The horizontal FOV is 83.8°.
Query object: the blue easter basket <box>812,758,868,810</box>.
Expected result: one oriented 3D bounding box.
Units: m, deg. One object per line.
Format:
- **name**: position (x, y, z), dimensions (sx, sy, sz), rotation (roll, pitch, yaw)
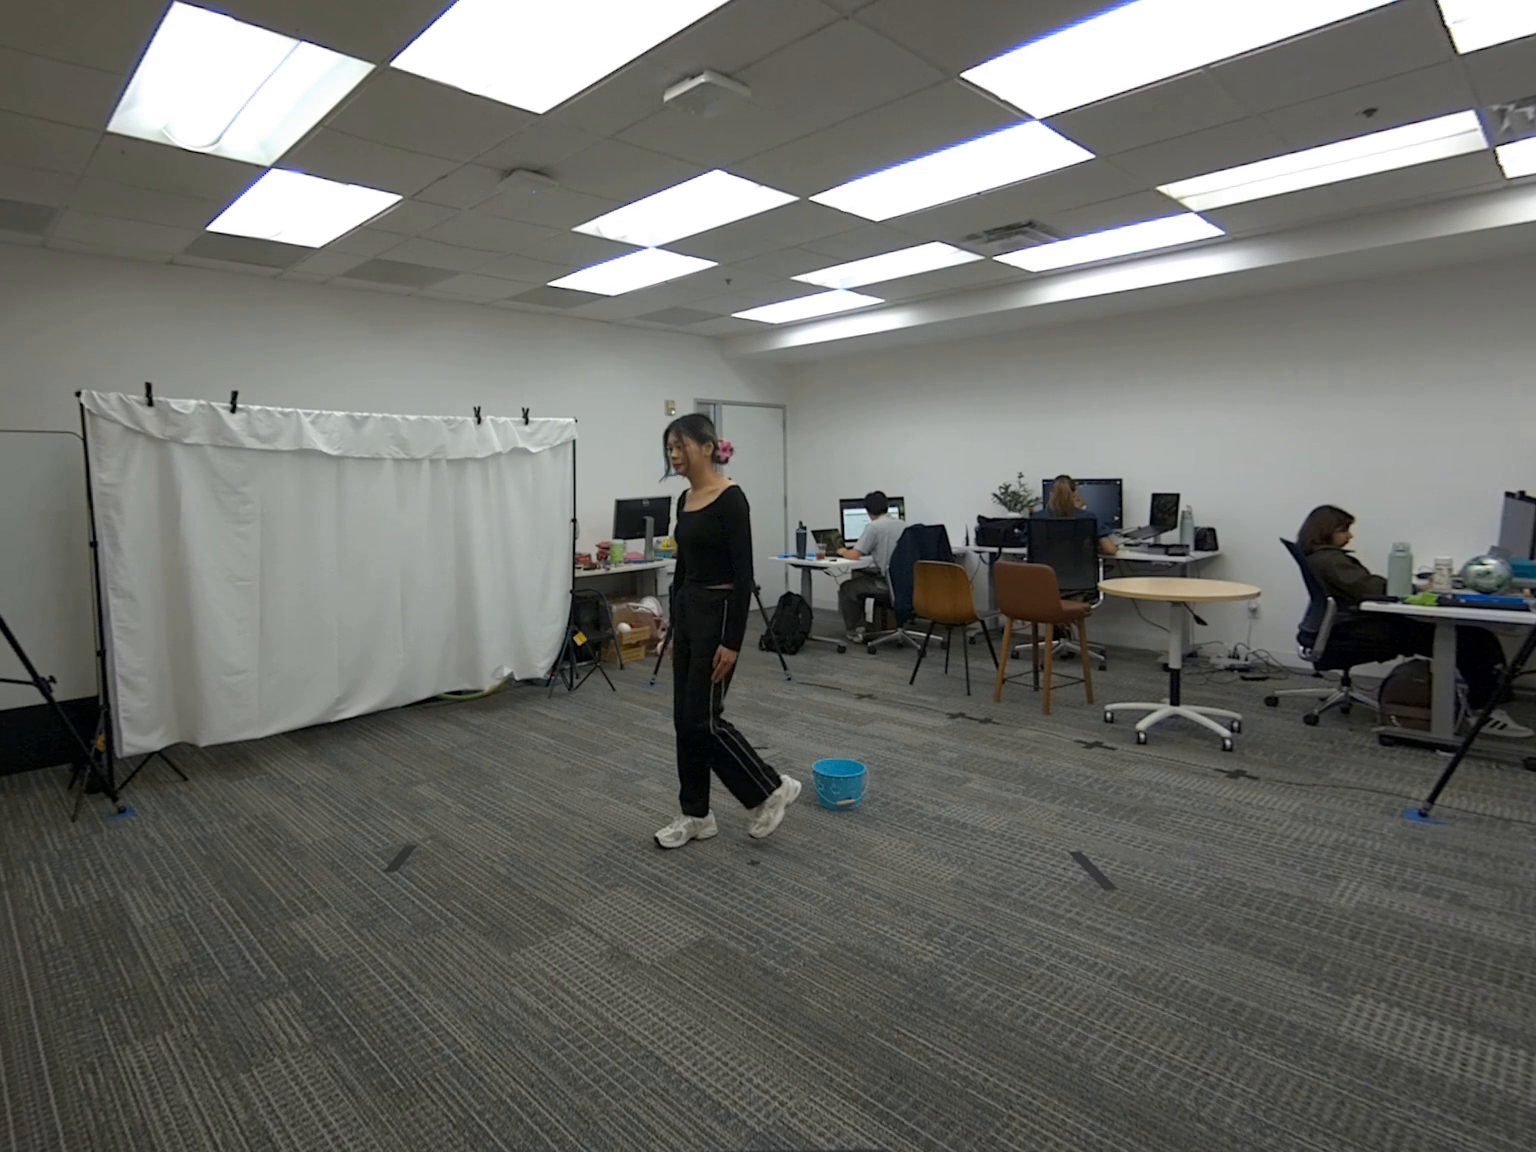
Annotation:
- **blue easter basket**: position (0.309, 0.892, 3.672), dimensions (0.243, 0.155, 0.245), rotation (0, 5, -2)
